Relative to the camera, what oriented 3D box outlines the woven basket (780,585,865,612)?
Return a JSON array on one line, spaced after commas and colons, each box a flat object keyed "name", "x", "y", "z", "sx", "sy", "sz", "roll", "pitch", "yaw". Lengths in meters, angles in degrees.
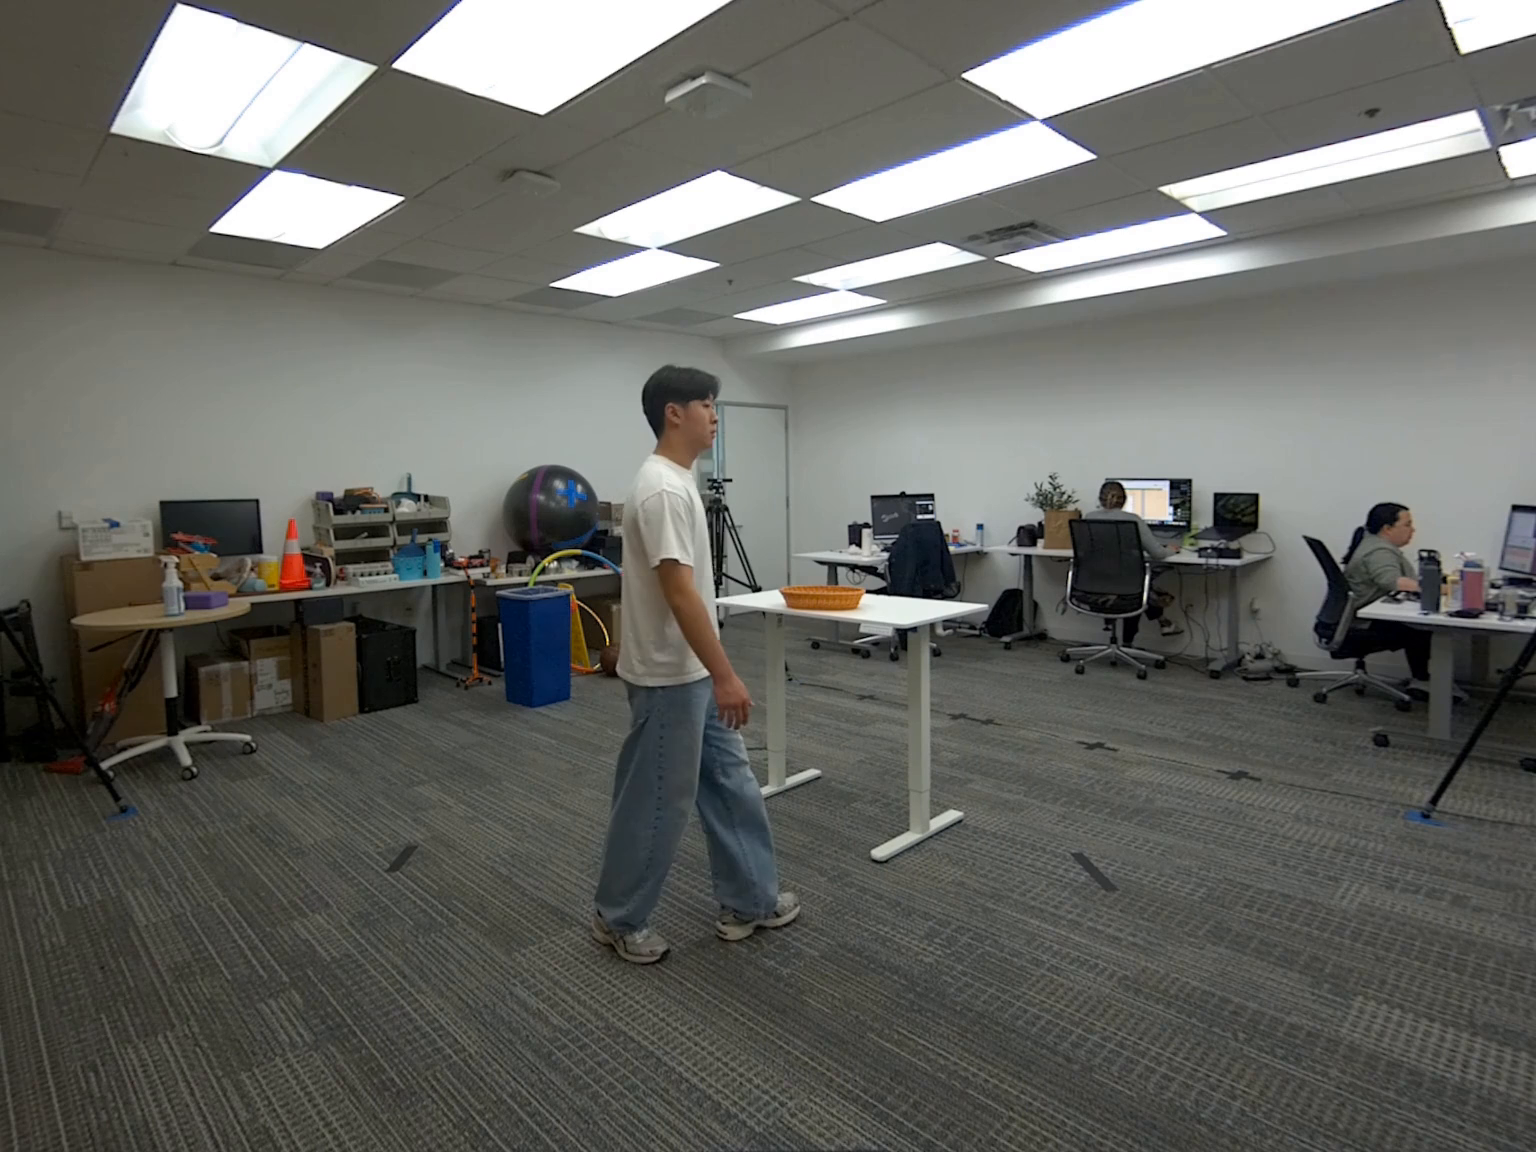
[{"name": "woven basket", "x": 0.232, "y": 0.092, "z": 3.415, "sx": 0.358, "sy": 0.073, "sz": 0.248, "roll": 1, "pitch": 7, "yaw": 23}]
